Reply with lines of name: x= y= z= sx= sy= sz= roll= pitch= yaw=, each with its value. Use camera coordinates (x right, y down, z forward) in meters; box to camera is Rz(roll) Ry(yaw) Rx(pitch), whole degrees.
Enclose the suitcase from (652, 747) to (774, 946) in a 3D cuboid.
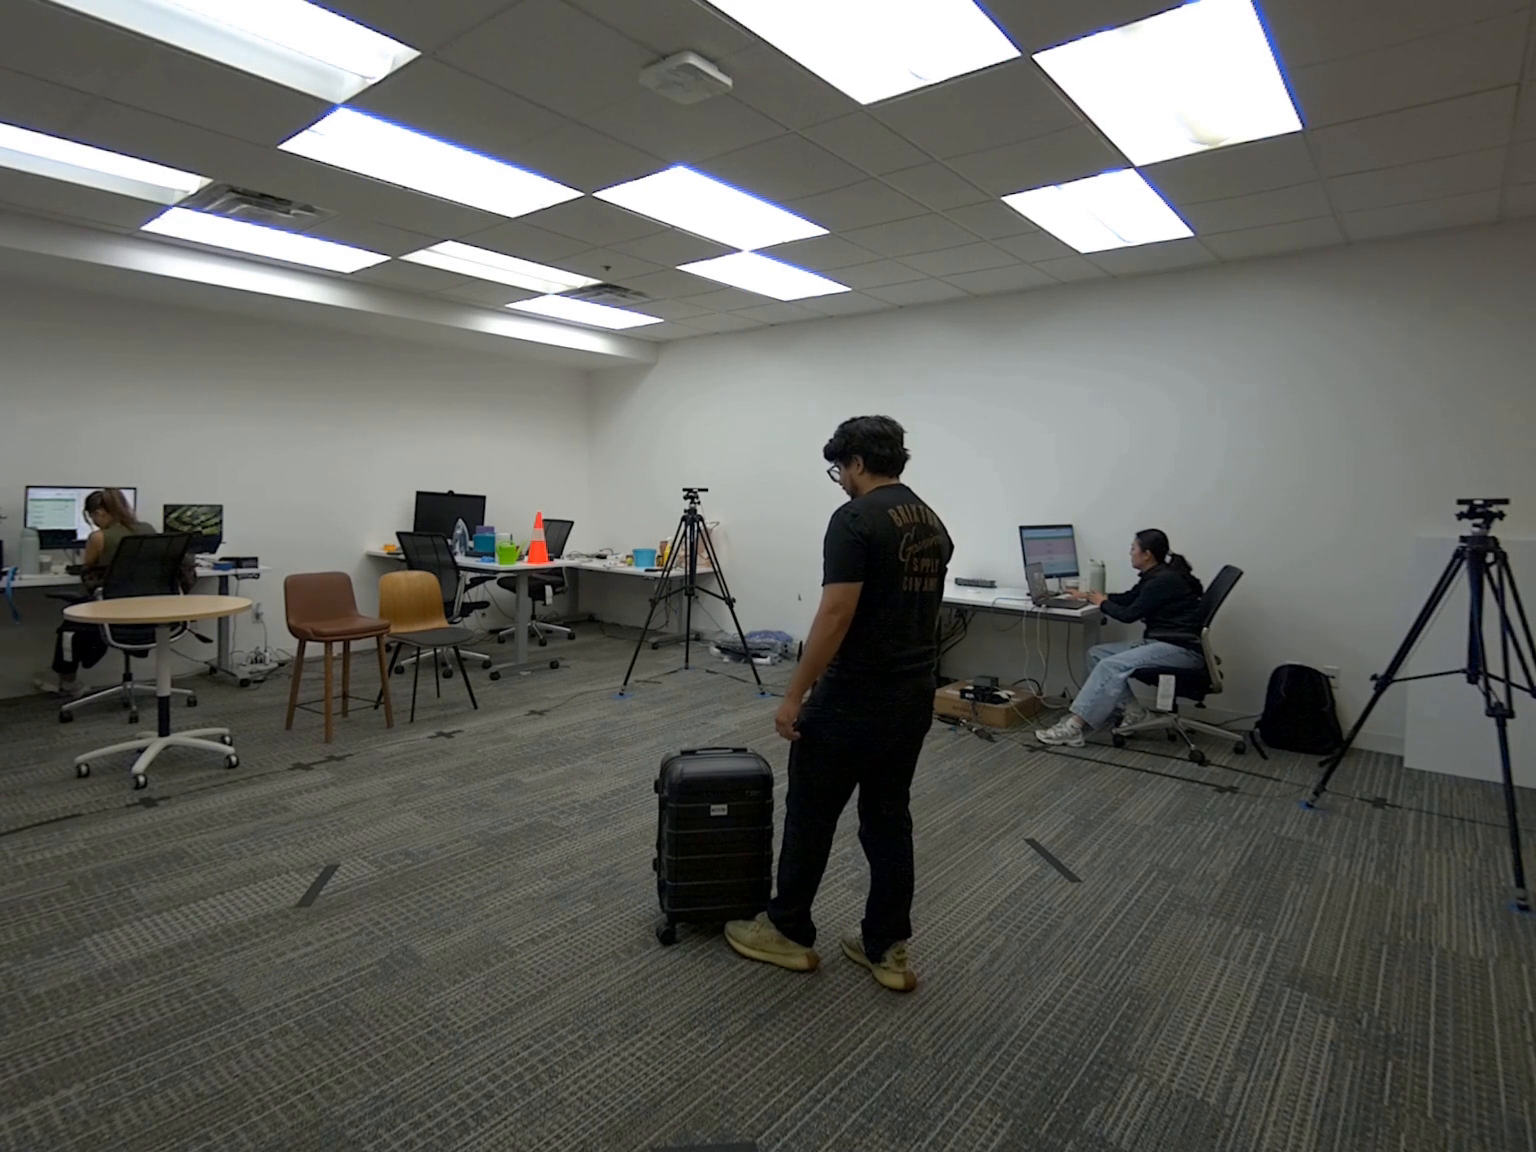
suitcase: x=-0.175 y=0.829 z=2.719 sx=0.371 sy=0.548 sz=0.252 roll=1 pitch=3 yaw=-11
